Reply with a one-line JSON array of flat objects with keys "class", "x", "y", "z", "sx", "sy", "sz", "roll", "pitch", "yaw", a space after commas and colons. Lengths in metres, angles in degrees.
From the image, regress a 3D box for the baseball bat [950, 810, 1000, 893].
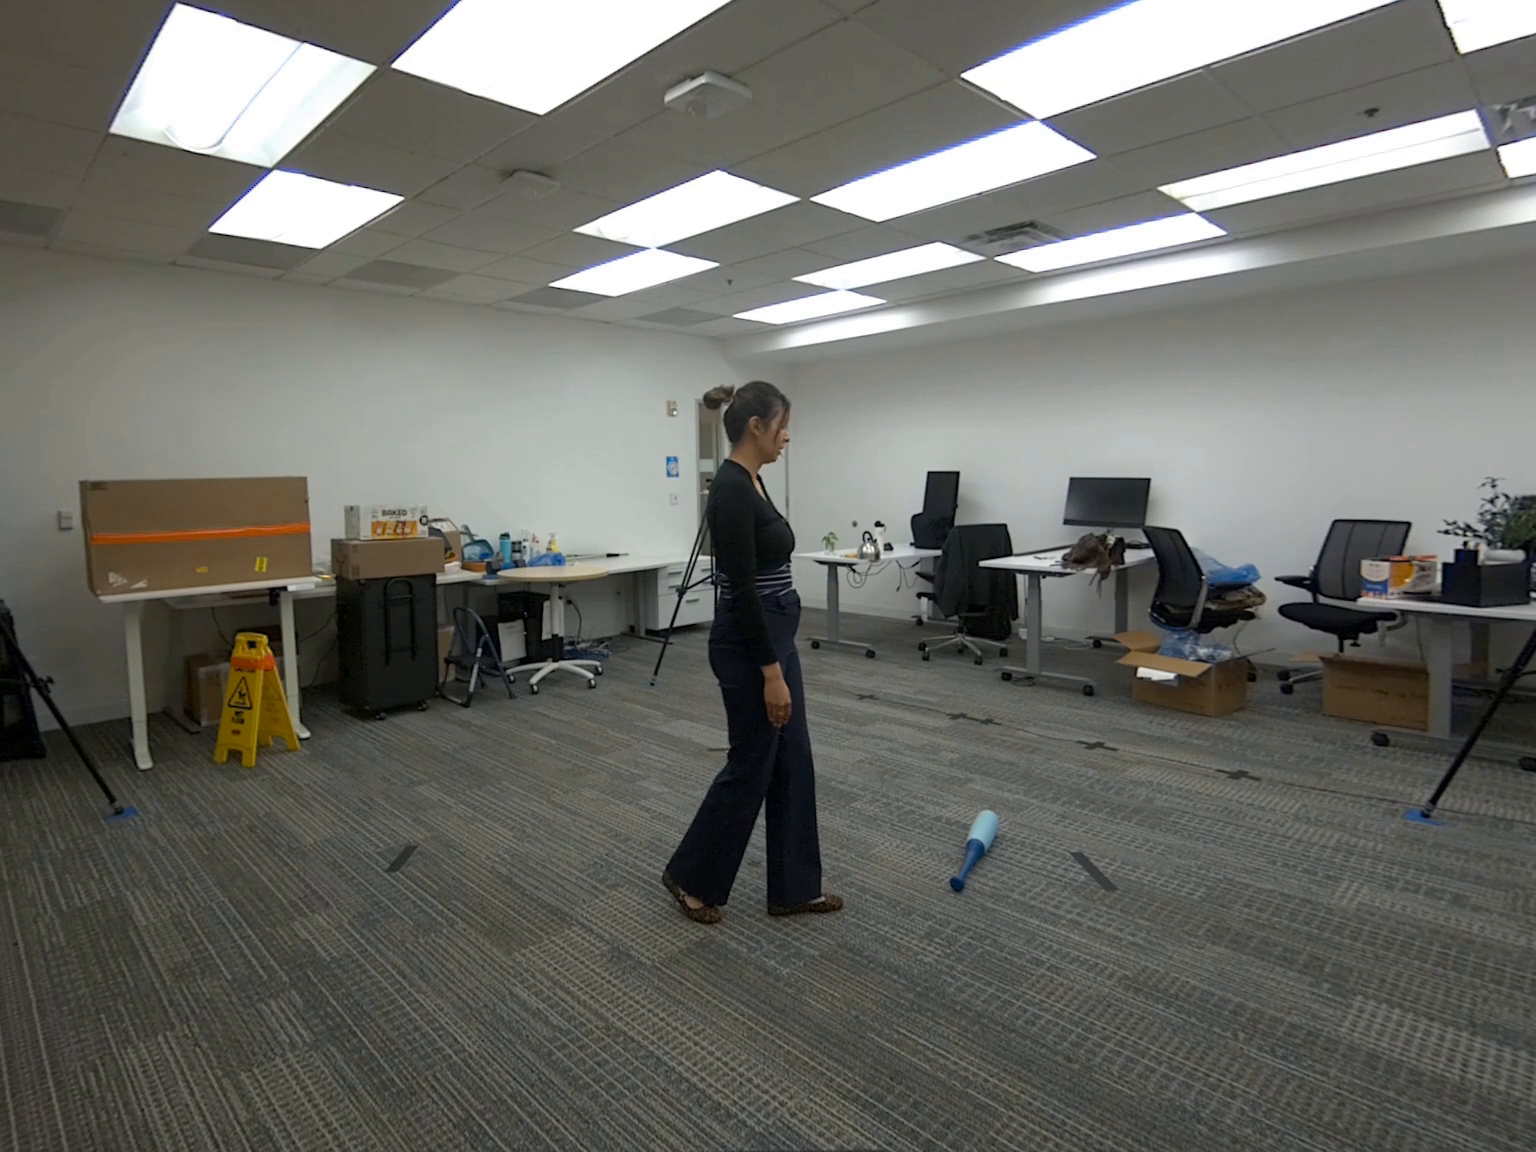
[{"class": "baseball bat", "x": 0.752, "y": 0.994, "z": 3.096, "sx": 0.091, "sy": 0.088, "sz": 0.534, "roll": 1, "pitch": 9, "yaw": 24}]
